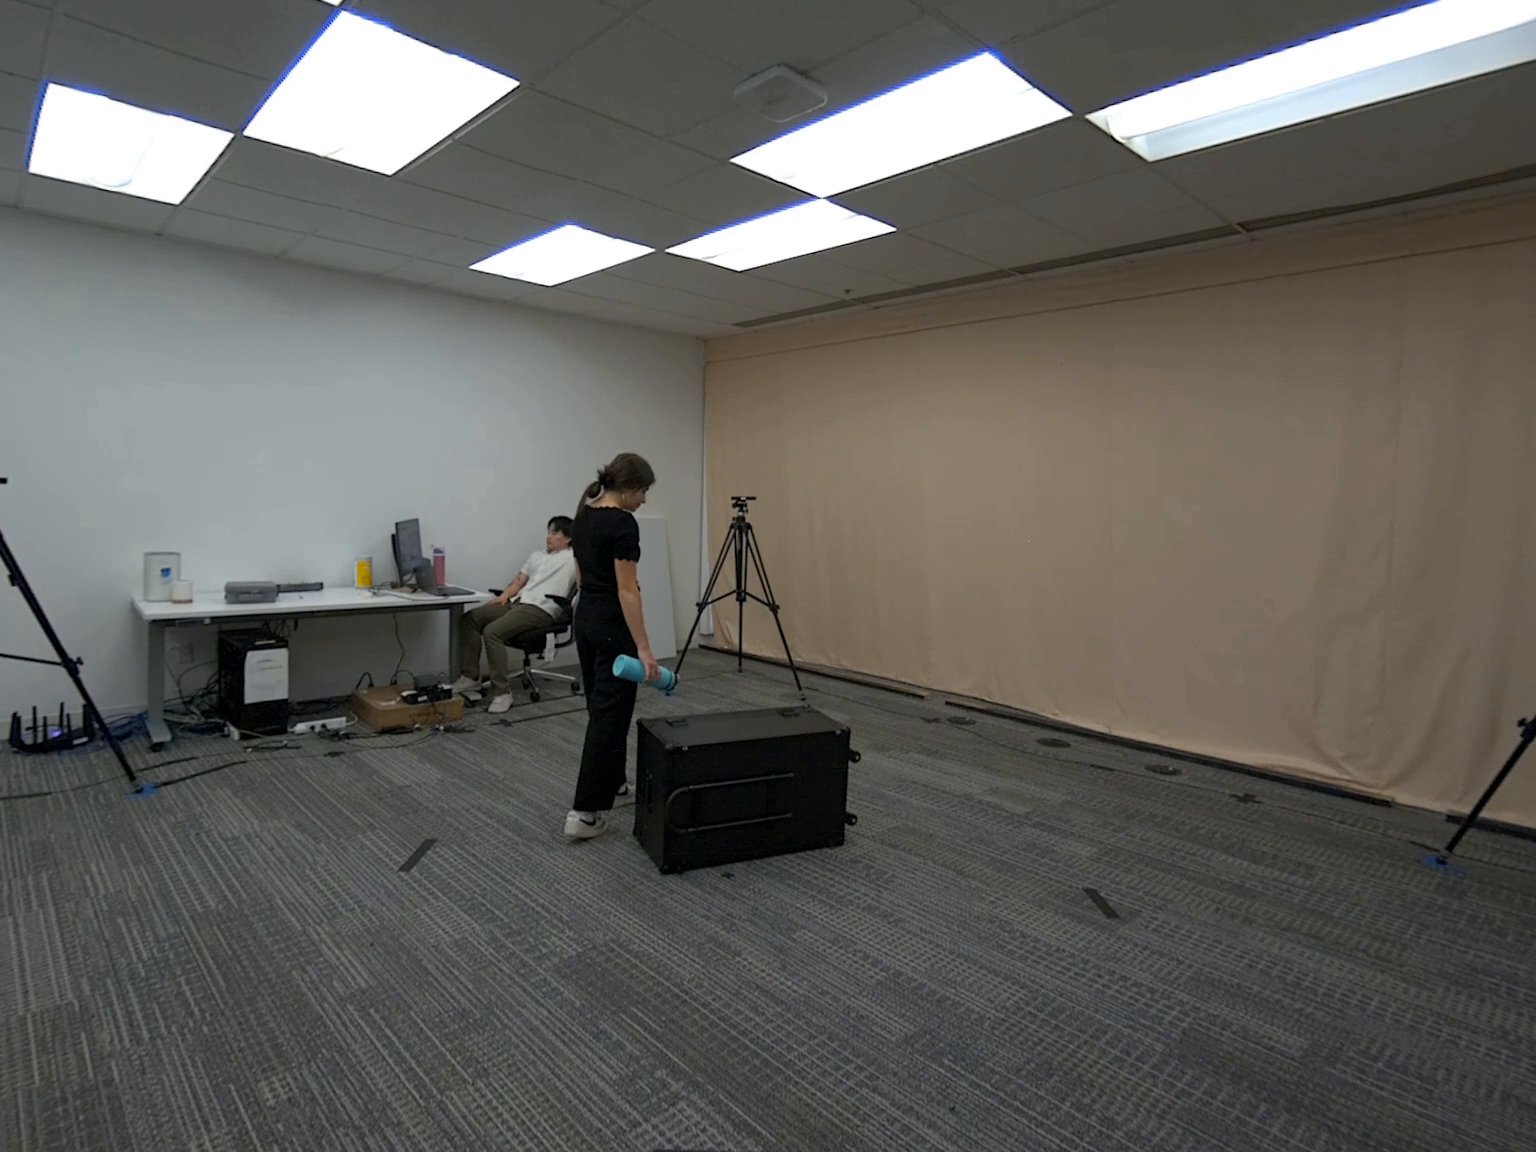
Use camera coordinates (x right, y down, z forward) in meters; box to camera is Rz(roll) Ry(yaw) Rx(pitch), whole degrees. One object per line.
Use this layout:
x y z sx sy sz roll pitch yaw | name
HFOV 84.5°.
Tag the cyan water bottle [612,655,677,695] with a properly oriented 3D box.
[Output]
-0.501 0.404 3.443 0.275 0.093 0.094 25 -11 -36 | cyan water bottle
